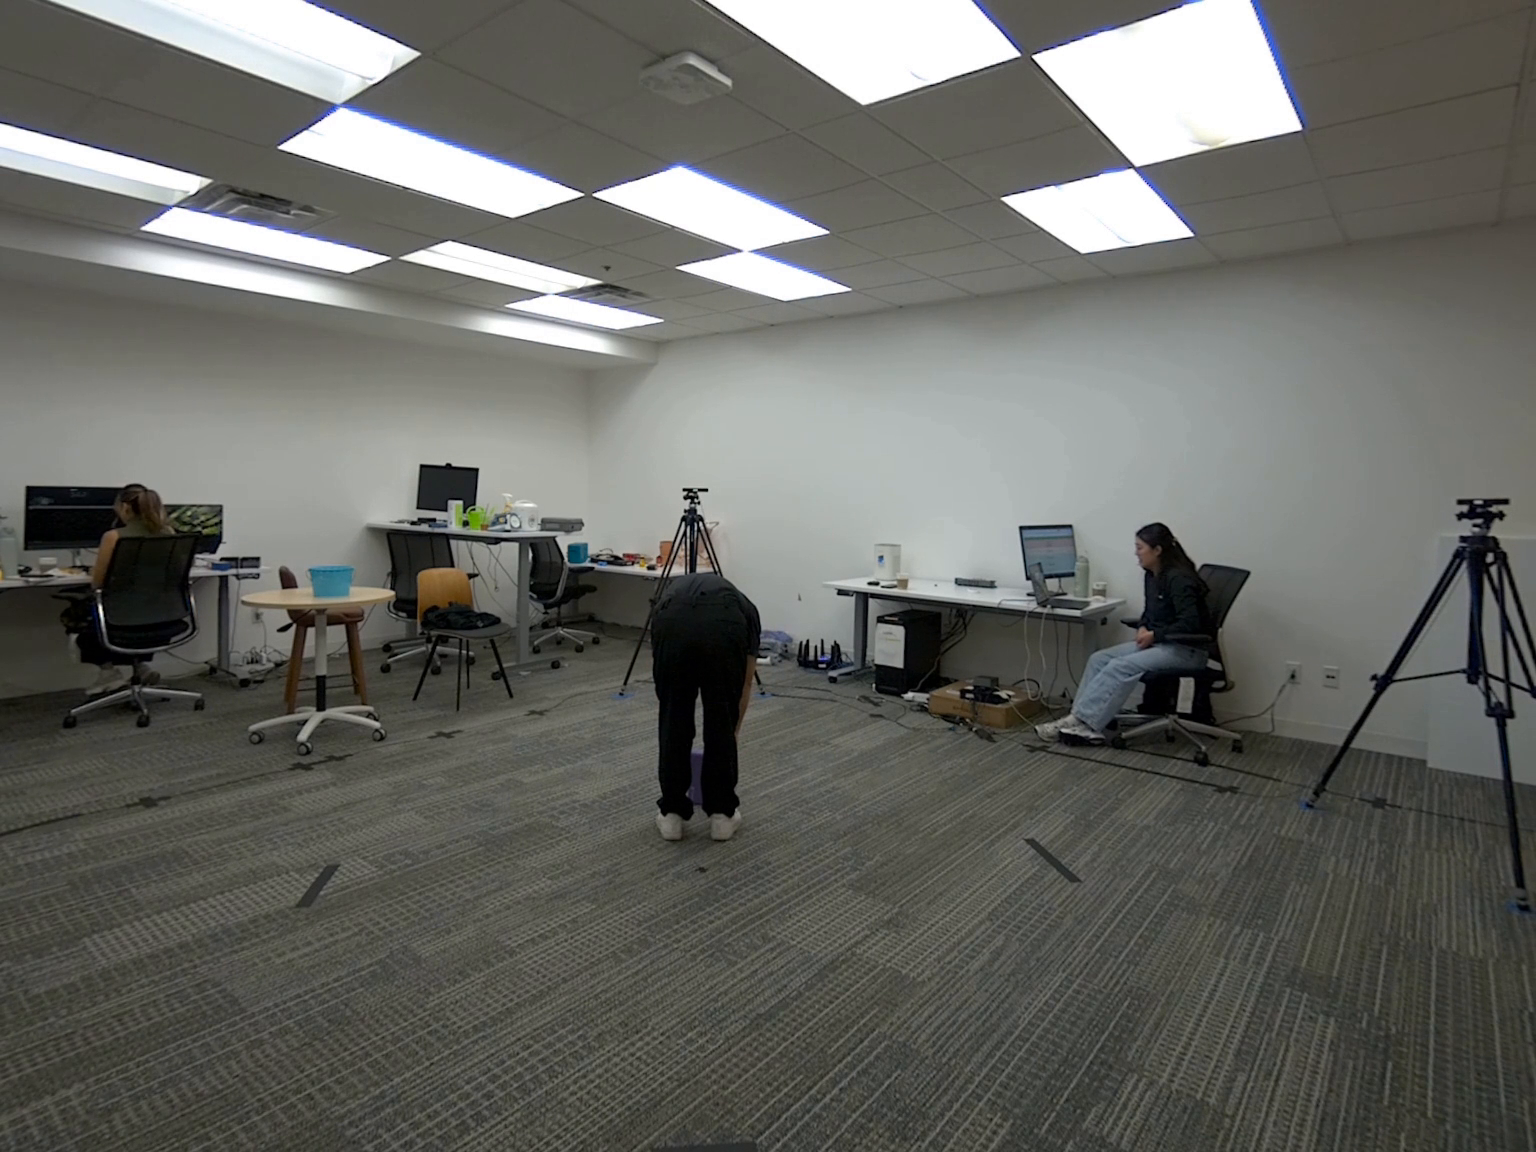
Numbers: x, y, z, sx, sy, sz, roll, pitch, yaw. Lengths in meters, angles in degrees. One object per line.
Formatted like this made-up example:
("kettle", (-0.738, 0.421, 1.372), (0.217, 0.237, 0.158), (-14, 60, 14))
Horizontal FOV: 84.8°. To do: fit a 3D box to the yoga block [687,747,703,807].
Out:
("yoga block", (-0.282, 0.884, 3.761), (0.150, 0.229, 0.076), (3, 2, 4))
